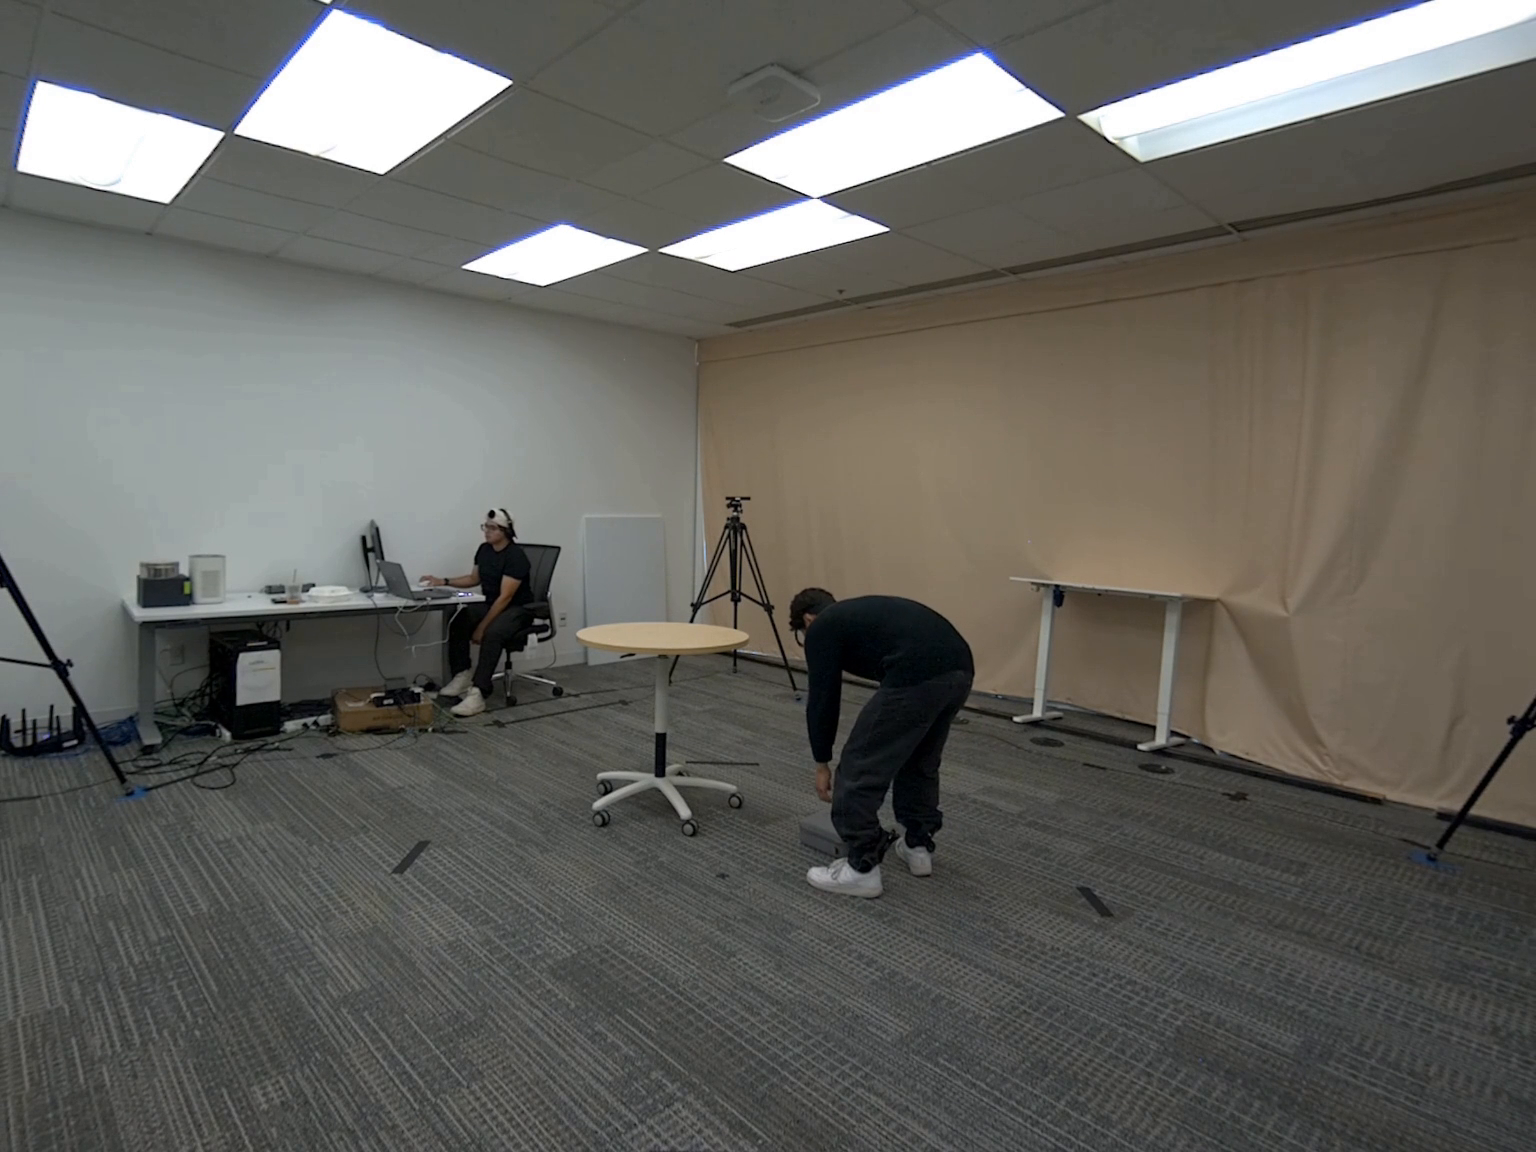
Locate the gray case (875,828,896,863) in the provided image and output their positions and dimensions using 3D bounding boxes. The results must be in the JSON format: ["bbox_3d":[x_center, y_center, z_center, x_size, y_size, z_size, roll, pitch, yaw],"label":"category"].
[{"bbox_3d":[0.296,1.038,3.411,0.251,0.104,0.267,-1,5,-44],"label":"gray case"}]
